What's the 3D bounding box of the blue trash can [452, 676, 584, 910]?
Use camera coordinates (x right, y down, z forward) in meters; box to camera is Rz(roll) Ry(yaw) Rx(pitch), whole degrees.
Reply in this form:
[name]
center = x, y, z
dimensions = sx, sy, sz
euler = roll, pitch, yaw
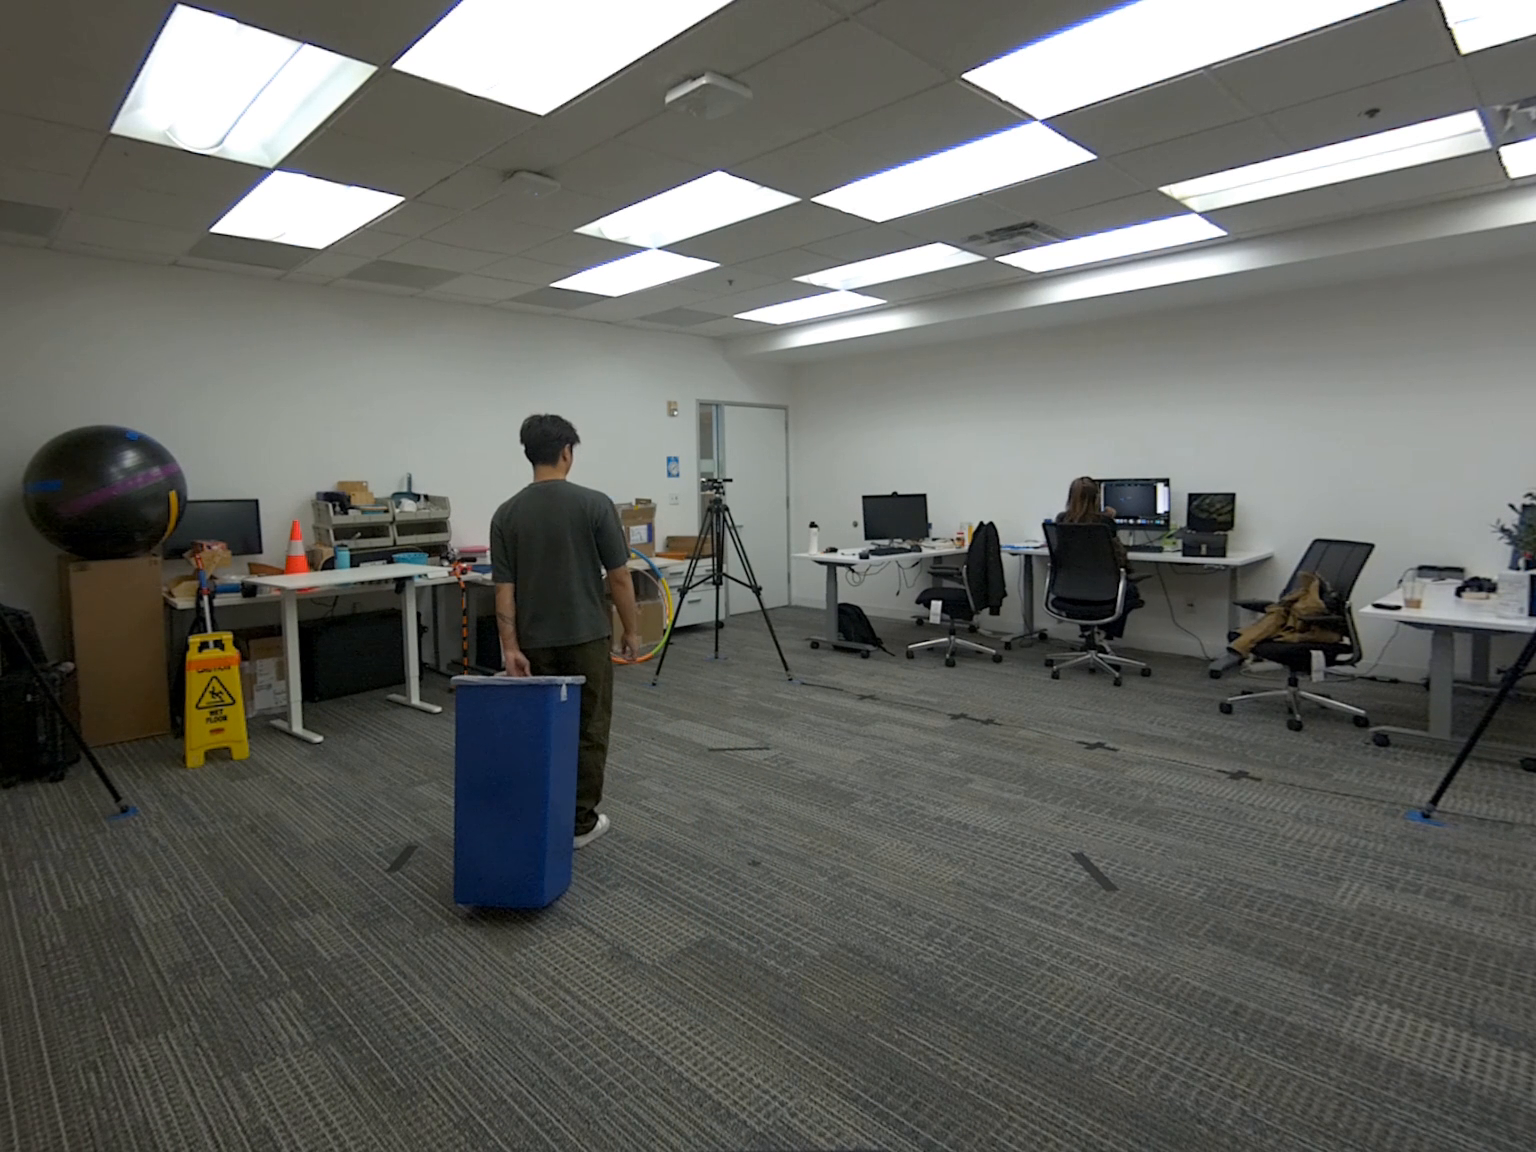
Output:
[blue trash can]
center = -0.858, 0.709, 2.895
dimensions = 0.376, 0.720, 0.373
euler = -1, -9, 5
